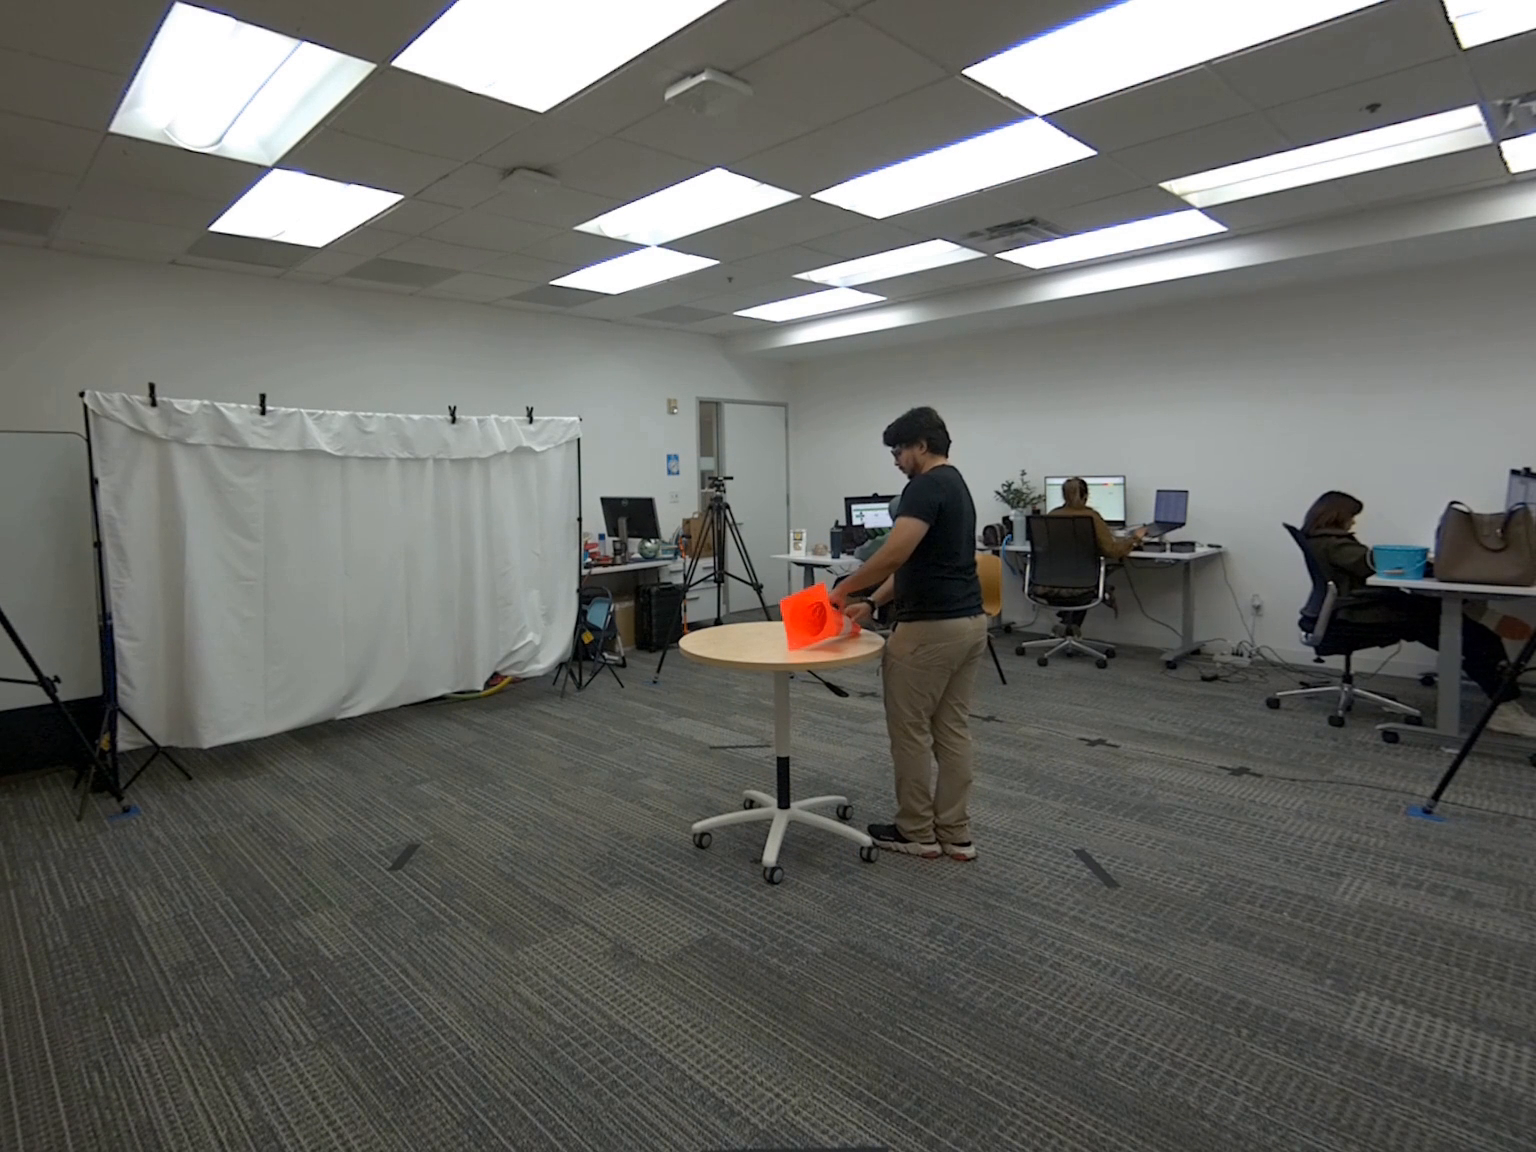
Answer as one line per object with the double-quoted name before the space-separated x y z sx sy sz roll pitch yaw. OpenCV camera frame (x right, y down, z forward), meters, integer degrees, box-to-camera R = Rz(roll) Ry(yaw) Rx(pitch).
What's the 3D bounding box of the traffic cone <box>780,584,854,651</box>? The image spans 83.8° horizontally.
"traffic cone" 0.248 0.184 3.160 0.207 0.208 0.370 -25 -27 28
